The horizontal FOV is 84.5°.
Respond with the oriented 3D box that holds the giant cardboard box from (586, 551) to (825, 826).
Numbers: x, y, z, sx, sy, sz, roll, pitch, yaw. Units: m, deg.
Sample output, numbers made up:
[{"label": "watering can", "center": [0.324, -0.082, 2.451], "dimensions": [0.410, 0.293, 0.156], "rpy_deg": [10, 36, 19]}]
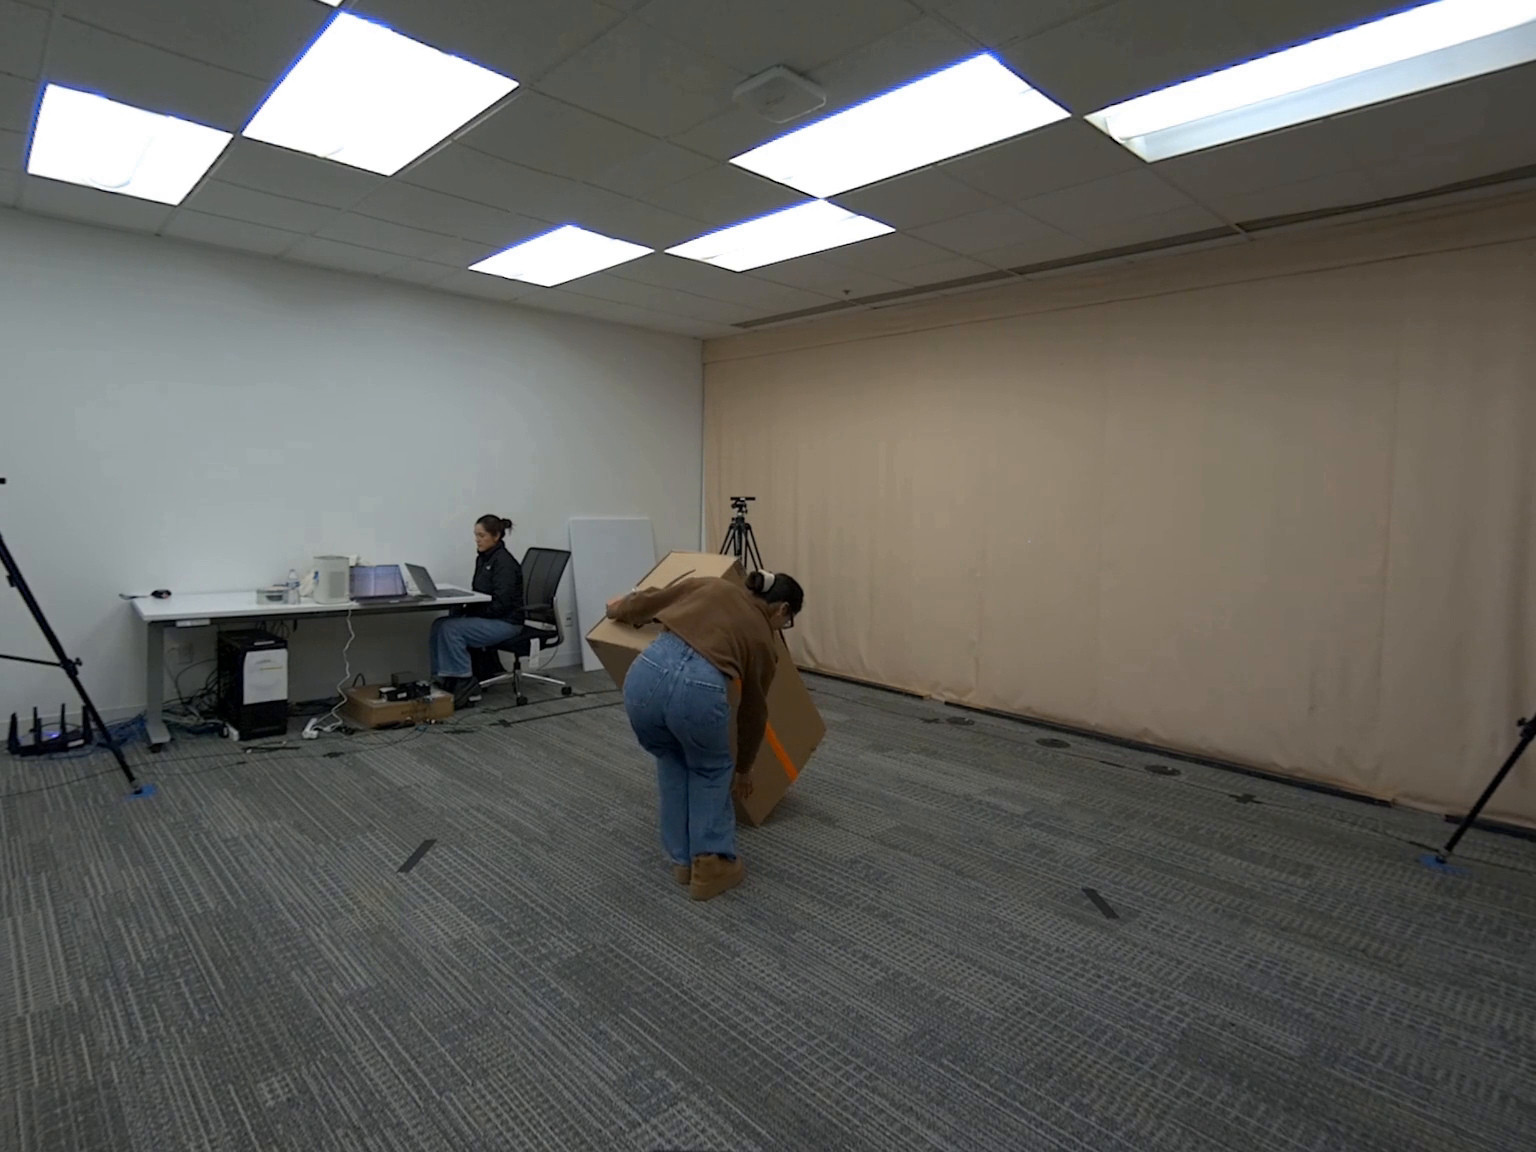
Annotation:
[{"label": "giant cardboard box", "center": [-0.237, 0.479, 3.634], "dimensions": [0.437, 1.000, 0.577], "rpy_deg": [6, 42, 45]}]
